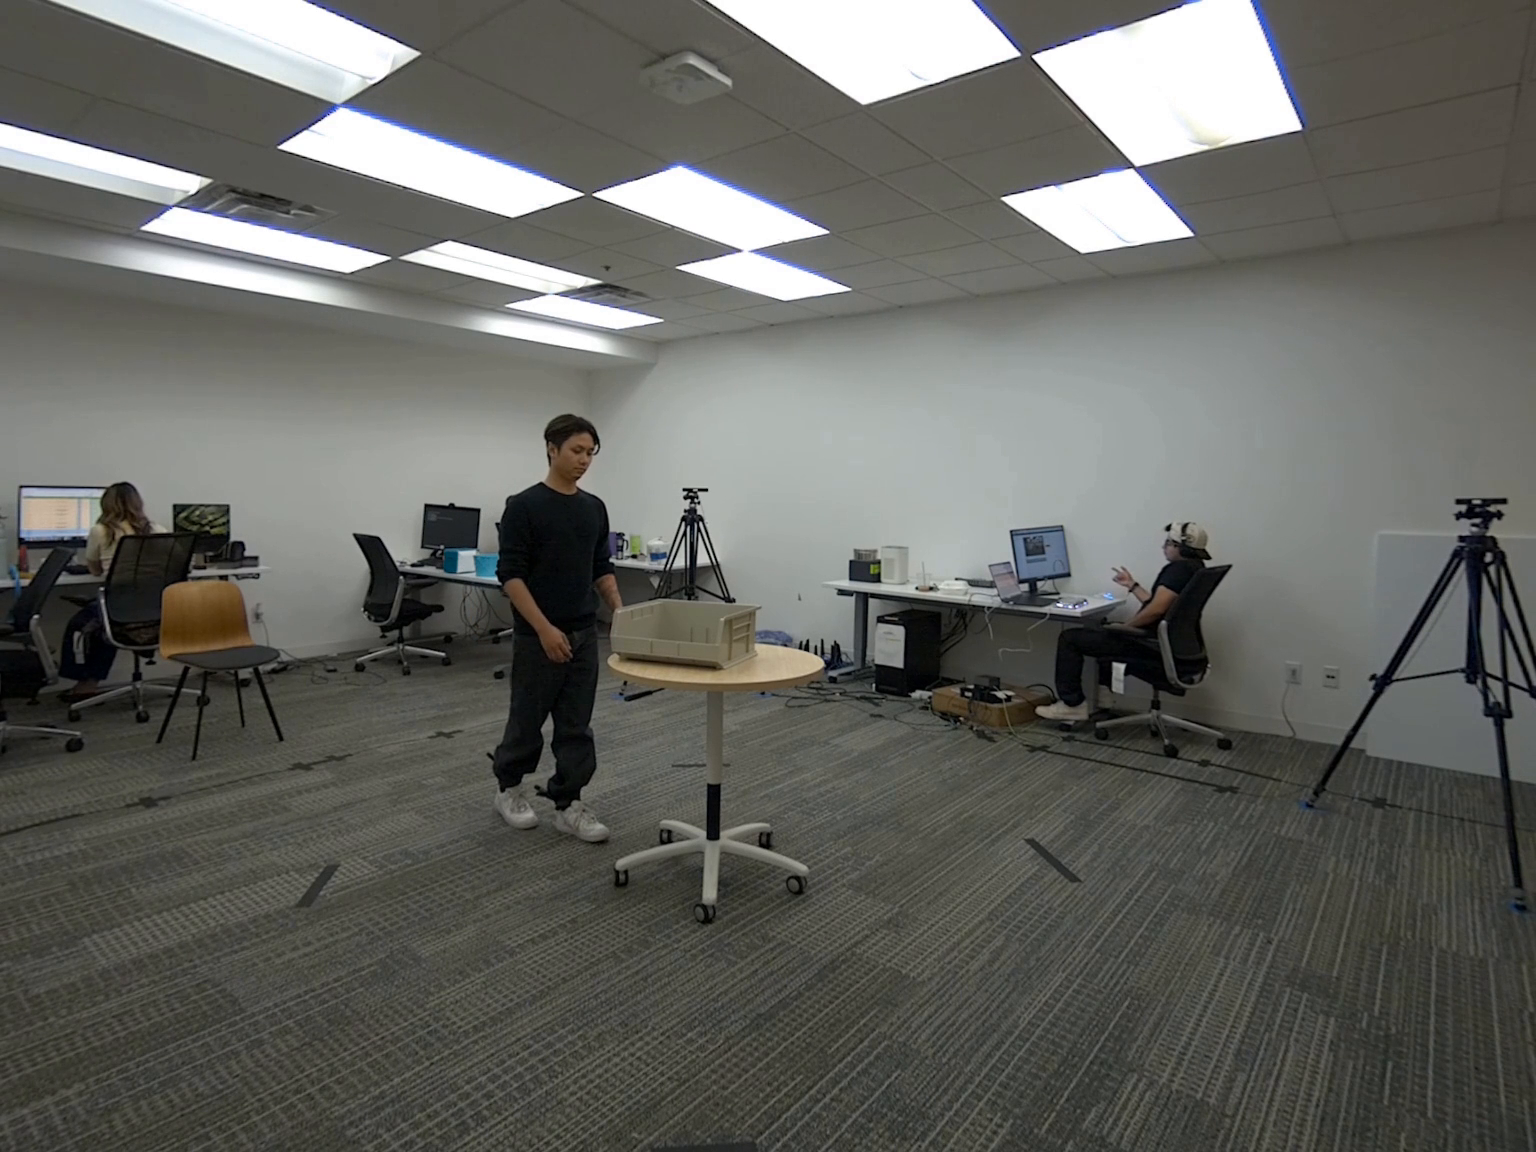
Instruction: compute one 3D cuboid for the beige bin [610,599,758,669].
[{"bbox_3d":[-0.297,0.200,3.046,0.432,0.189,0.369,2,3,22],"label":"beige bin"}]
